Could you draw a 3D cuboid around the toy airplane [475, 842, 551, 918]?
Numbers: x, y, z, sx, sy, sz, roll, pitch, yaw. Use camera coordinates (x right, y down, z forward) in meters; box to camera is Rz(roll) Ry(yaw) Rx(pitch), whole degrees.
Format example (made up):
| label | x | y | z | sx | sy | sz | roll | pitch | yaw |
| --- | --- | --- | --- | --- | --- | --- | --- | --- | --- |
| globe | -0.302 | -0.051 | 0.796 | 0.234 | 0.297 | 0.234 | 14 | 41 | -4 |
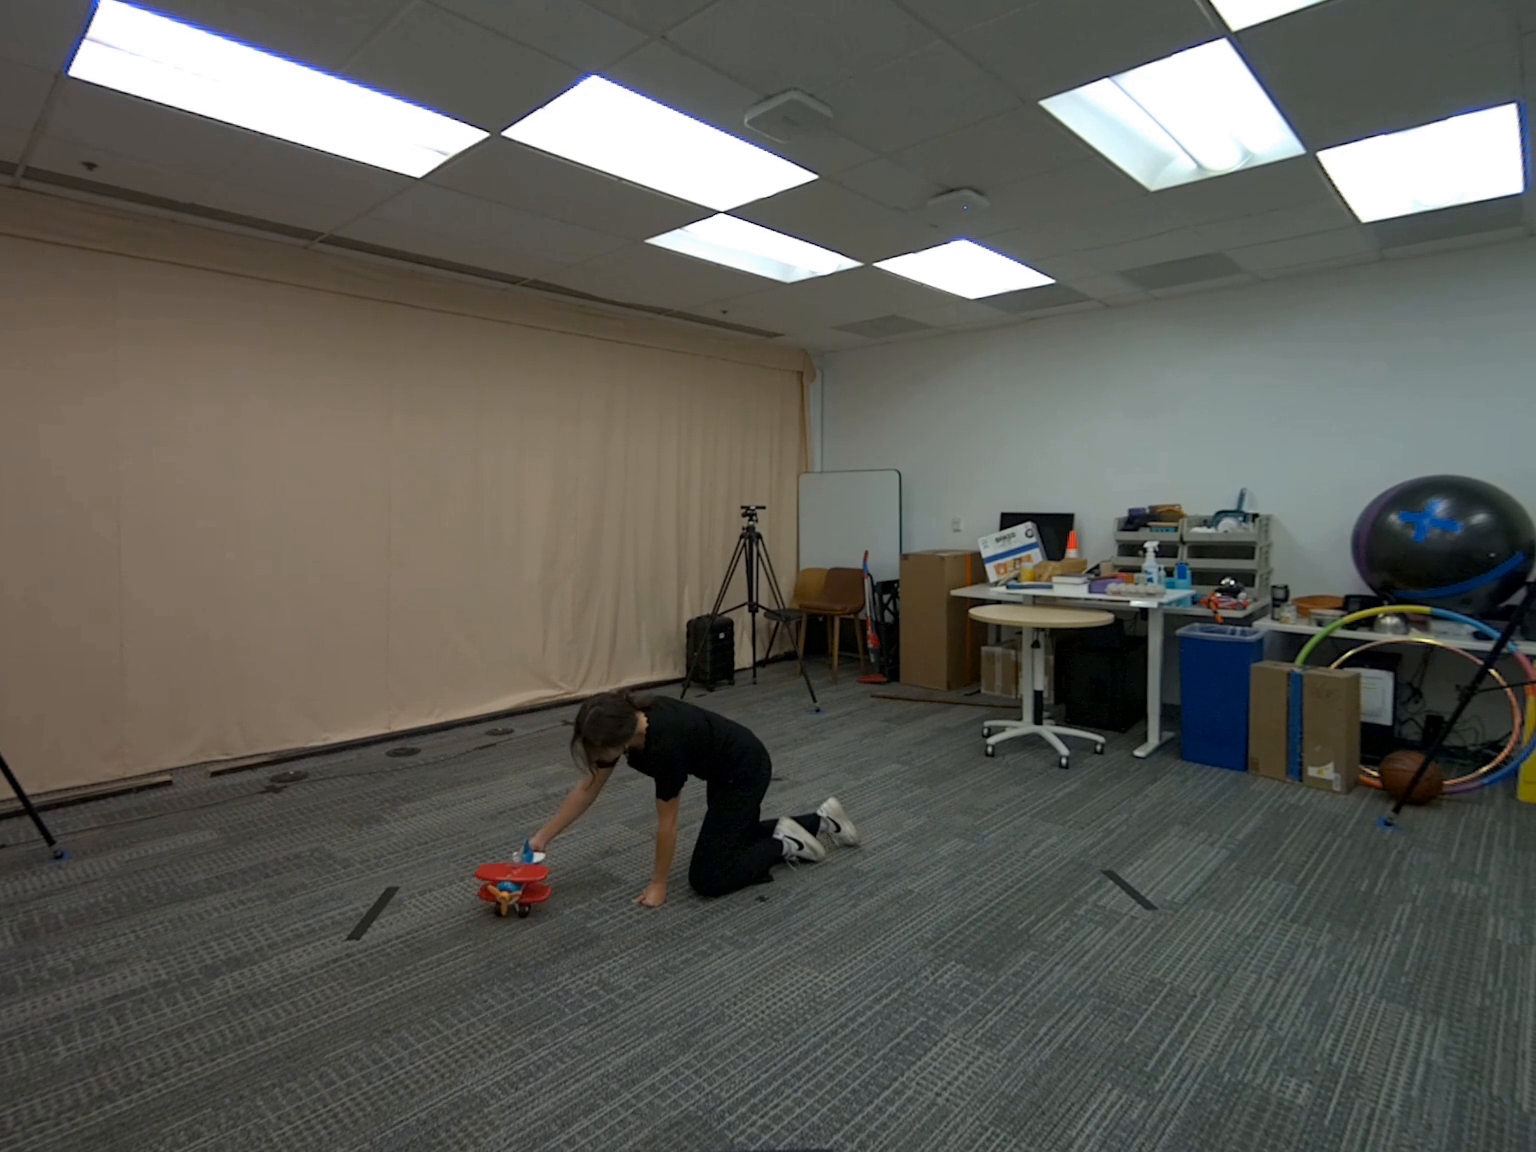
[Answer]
| label | x | y | z | sx | sy | sz | roll | pitch | yaw |
| --- | --- | --- | --- | --- | --- | --- | --- | --- | --- |
| toy airplane | -0.880 | 1.049 | 2.925 | 0.247 | 0.153 | 0.268 | -15 | 32 | -17 |
